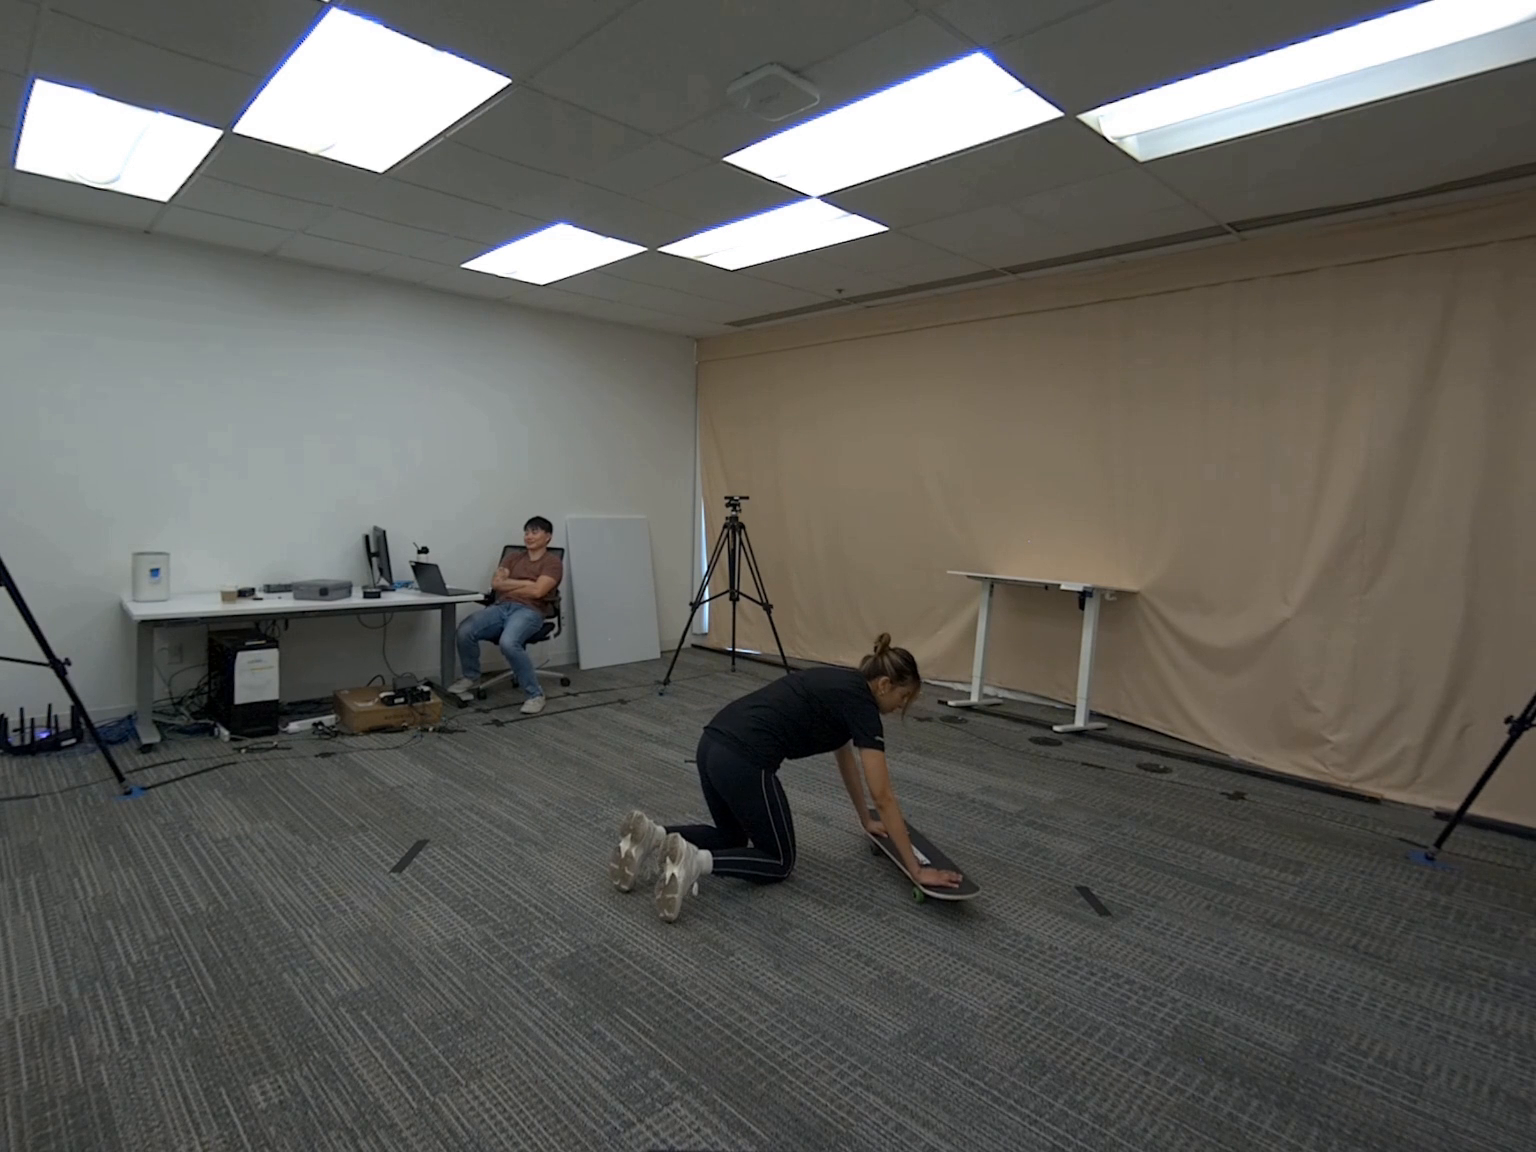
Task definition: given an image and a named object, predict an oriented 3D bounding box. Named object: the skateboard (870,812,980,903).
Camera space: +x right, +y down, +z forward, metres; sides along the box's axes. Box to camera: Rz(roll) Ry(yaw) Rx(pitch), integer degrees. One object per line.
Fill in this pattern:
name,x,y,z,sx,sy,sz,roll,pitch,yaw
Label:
skateboard,0.534,1.055,3.139,0.191,0.110,0.796,-1,5,-14
